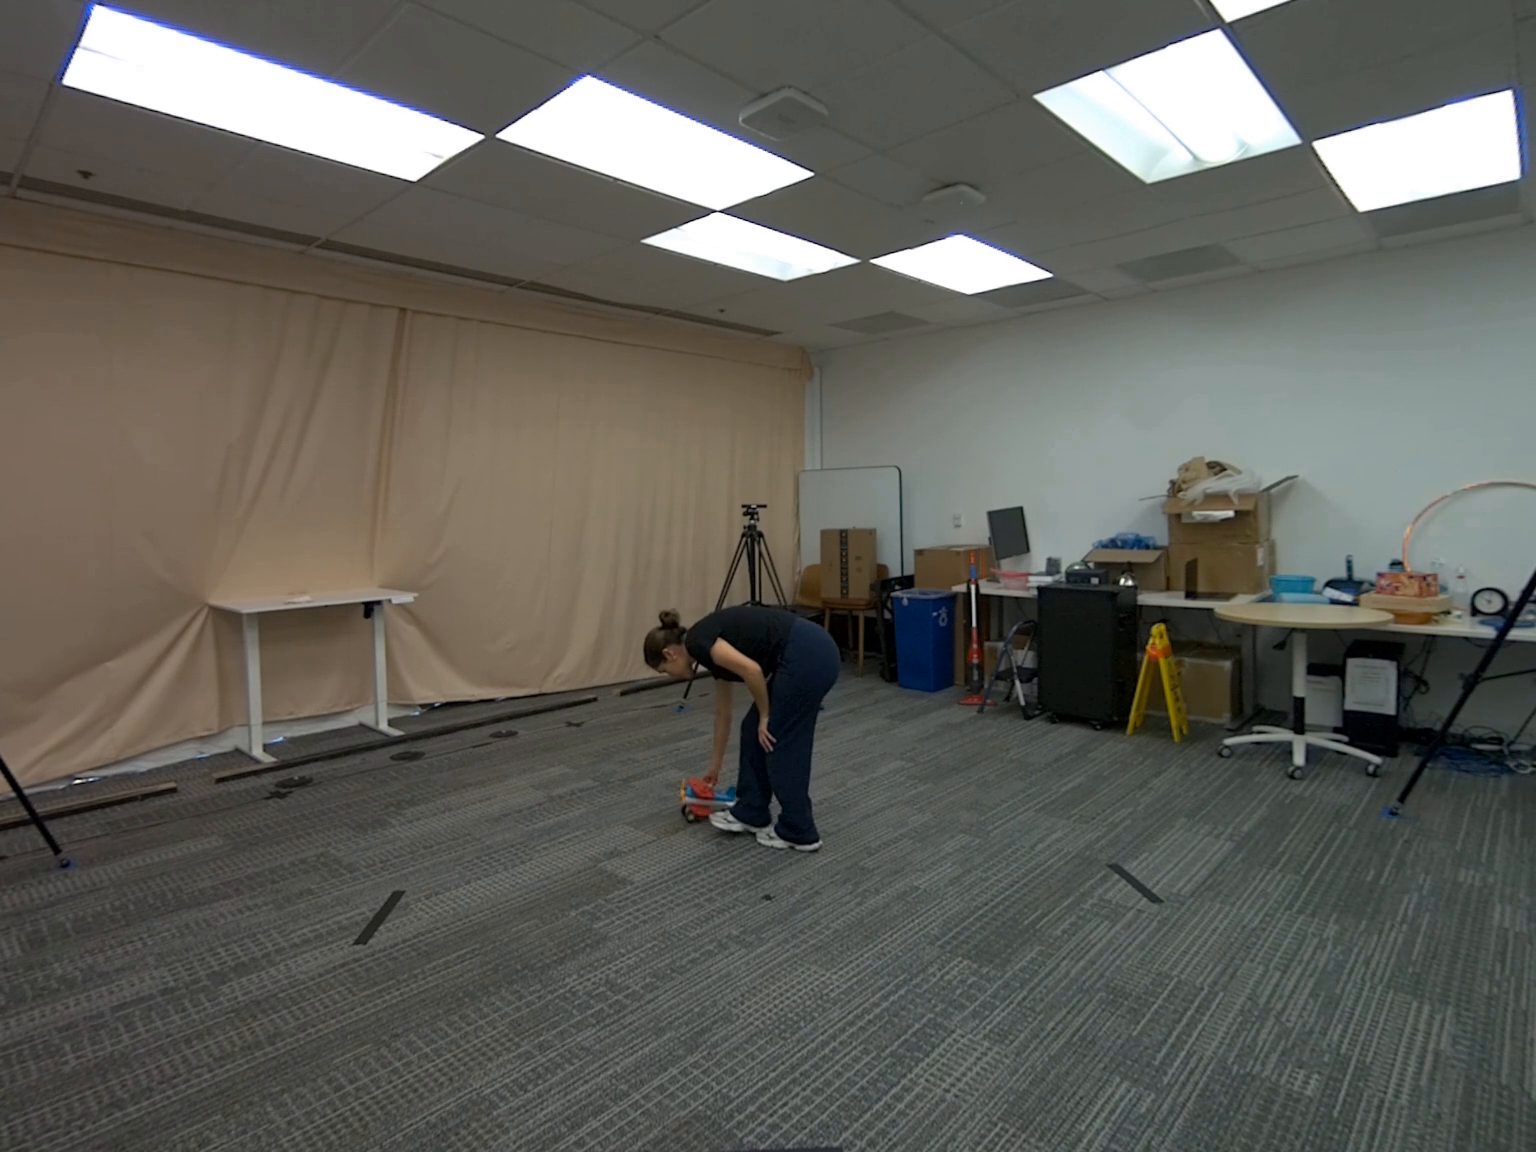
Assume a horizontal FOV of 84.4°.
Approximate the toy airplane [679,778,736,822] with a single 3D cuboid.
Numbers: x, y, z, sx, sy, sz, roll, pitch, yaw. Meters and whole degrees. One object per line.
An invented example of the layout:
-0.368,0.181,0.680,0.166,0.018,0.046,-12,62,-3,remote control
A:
-0.271,1.004,3.789,0.259,0.156,0.251,4,6,44,toy airplane
